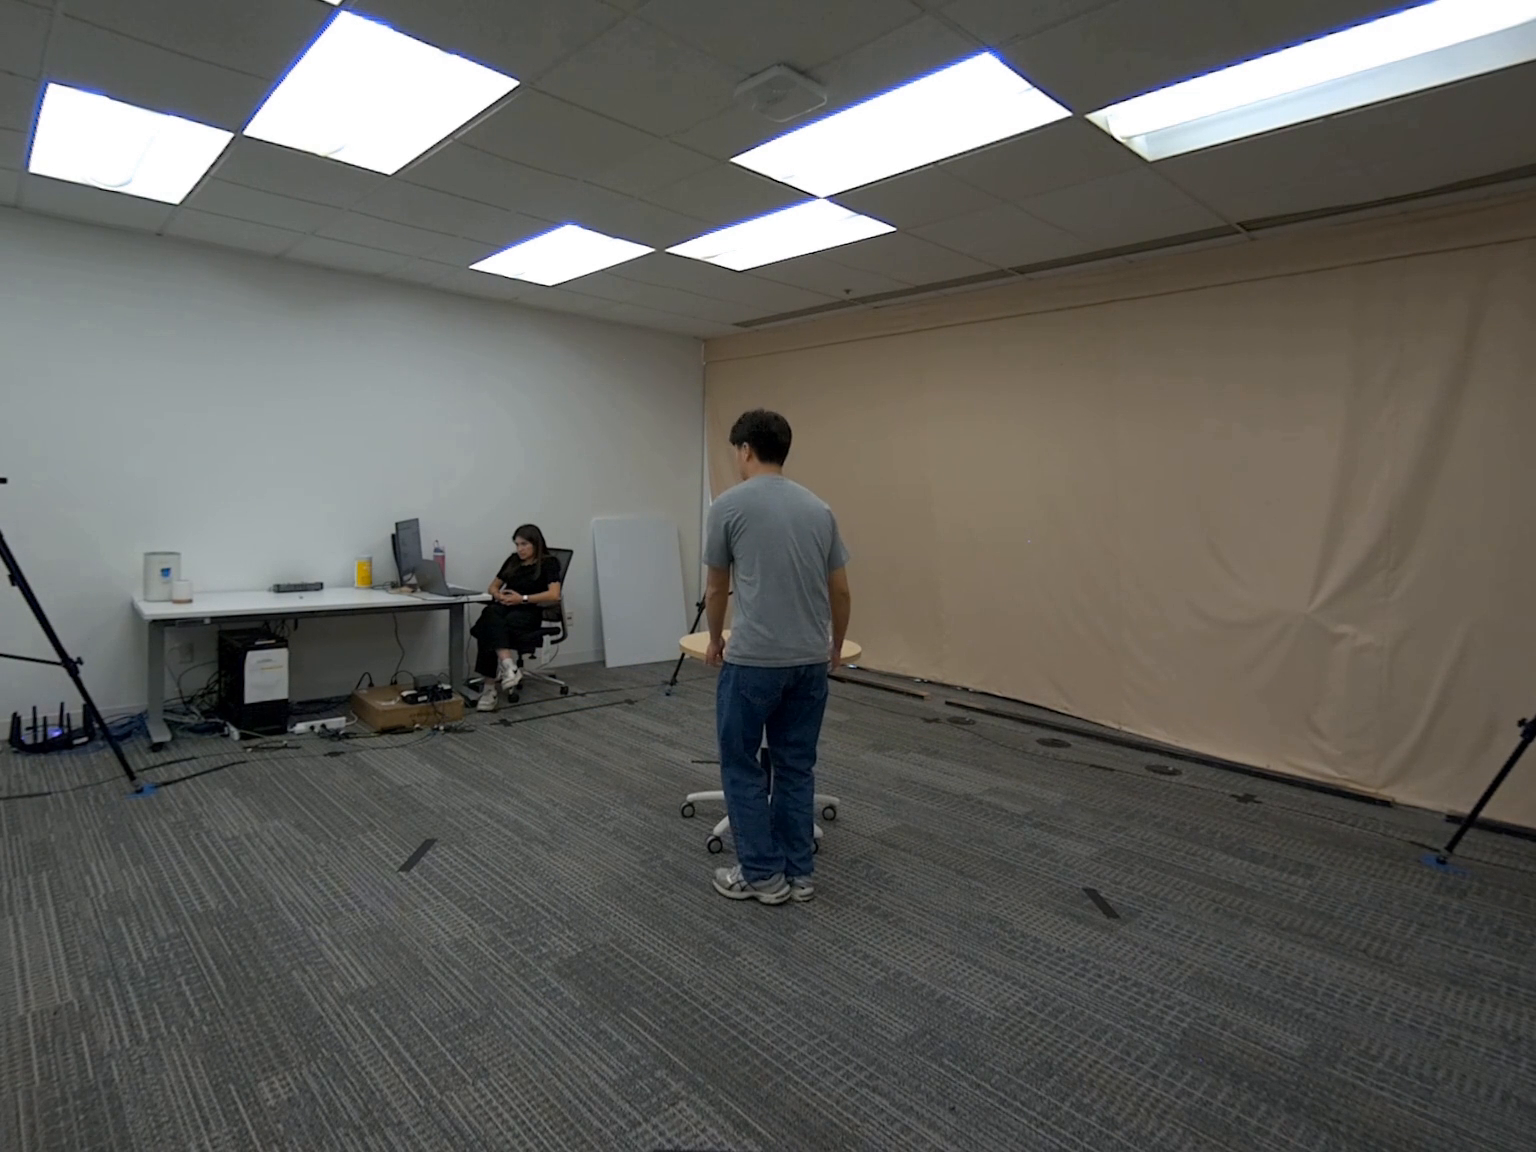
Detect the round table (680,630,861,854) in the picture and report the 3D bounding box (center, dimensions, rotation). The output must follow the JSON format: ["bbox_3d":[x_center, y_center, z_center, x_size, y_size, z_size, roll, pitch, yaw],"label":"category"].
[{"bbox_3d":[-0.010,0.682,3.568,0.763,0.792,0.766,2,4,-1],"label":"round table"}]
